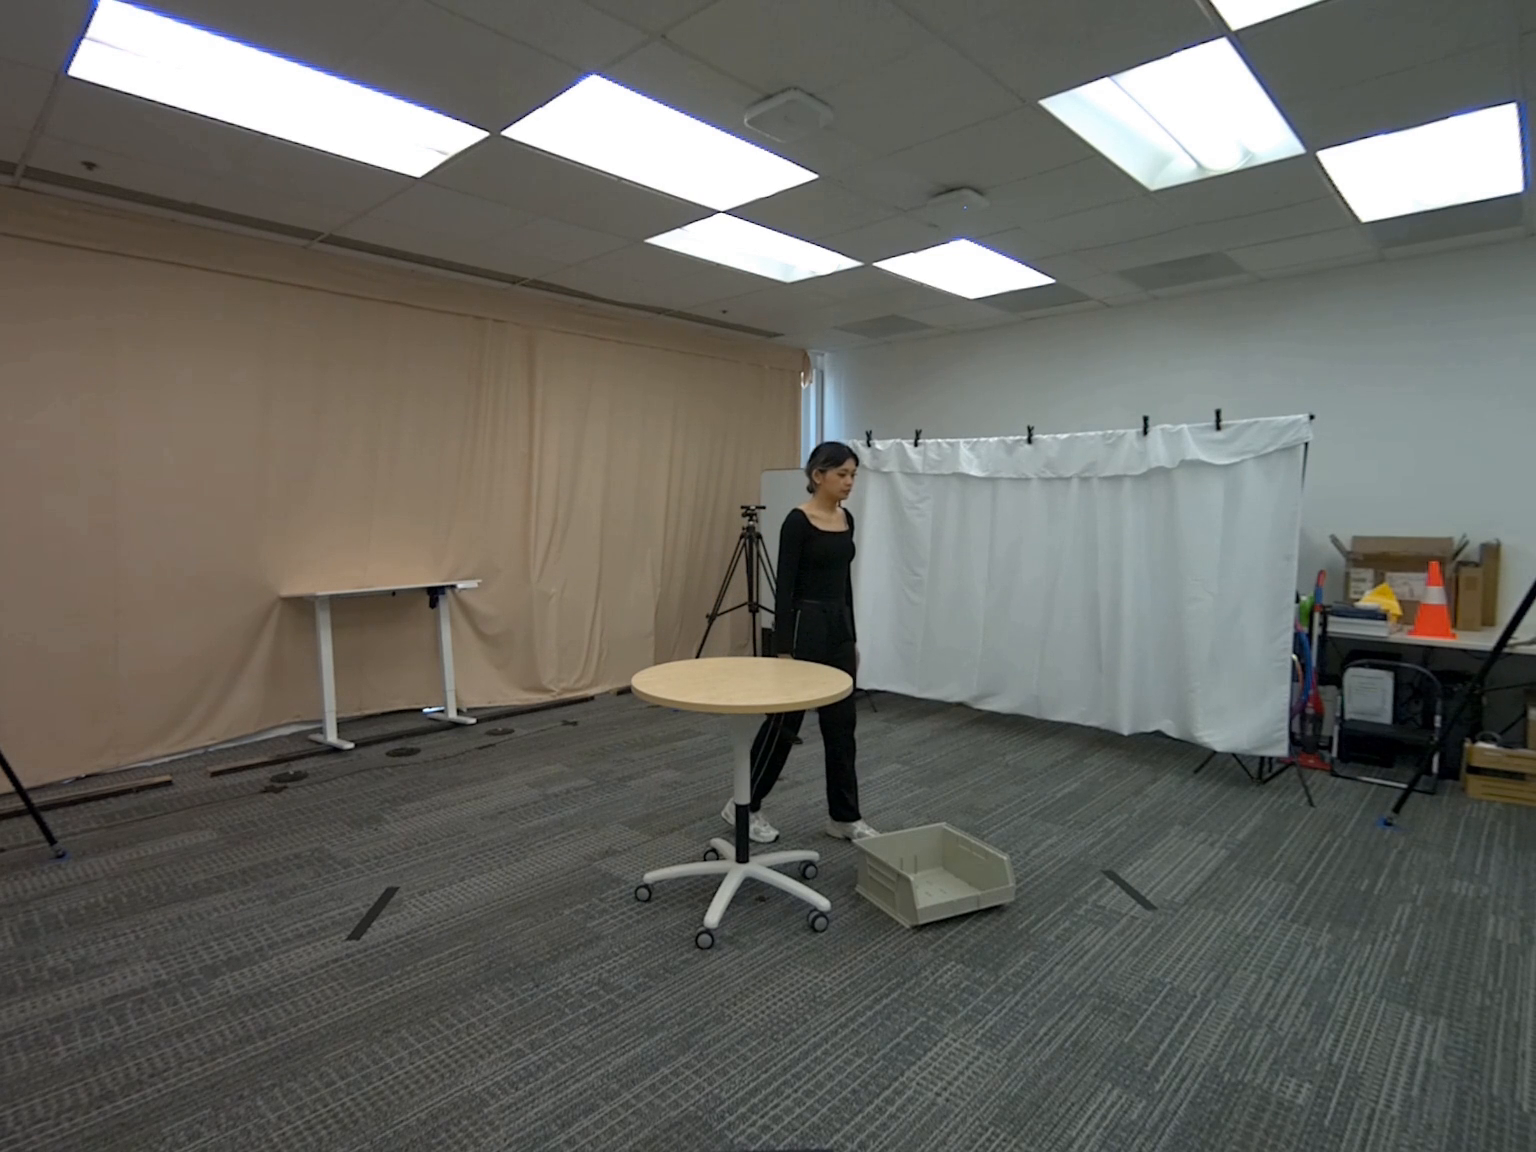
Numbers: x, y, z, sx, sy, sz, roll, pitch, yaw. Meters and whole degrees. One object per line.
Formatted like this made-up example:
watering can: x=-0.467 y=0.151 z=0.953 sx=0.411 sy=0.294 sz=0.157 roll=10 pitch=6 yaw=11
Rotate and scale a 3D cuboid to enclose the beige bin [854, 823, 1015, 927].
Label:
beige bin: x=0.583 y=1.054 z=2.969 sx=0.412 sy=0.188 sz=0.387 roll=-3 pitch=5 yaw=-26
